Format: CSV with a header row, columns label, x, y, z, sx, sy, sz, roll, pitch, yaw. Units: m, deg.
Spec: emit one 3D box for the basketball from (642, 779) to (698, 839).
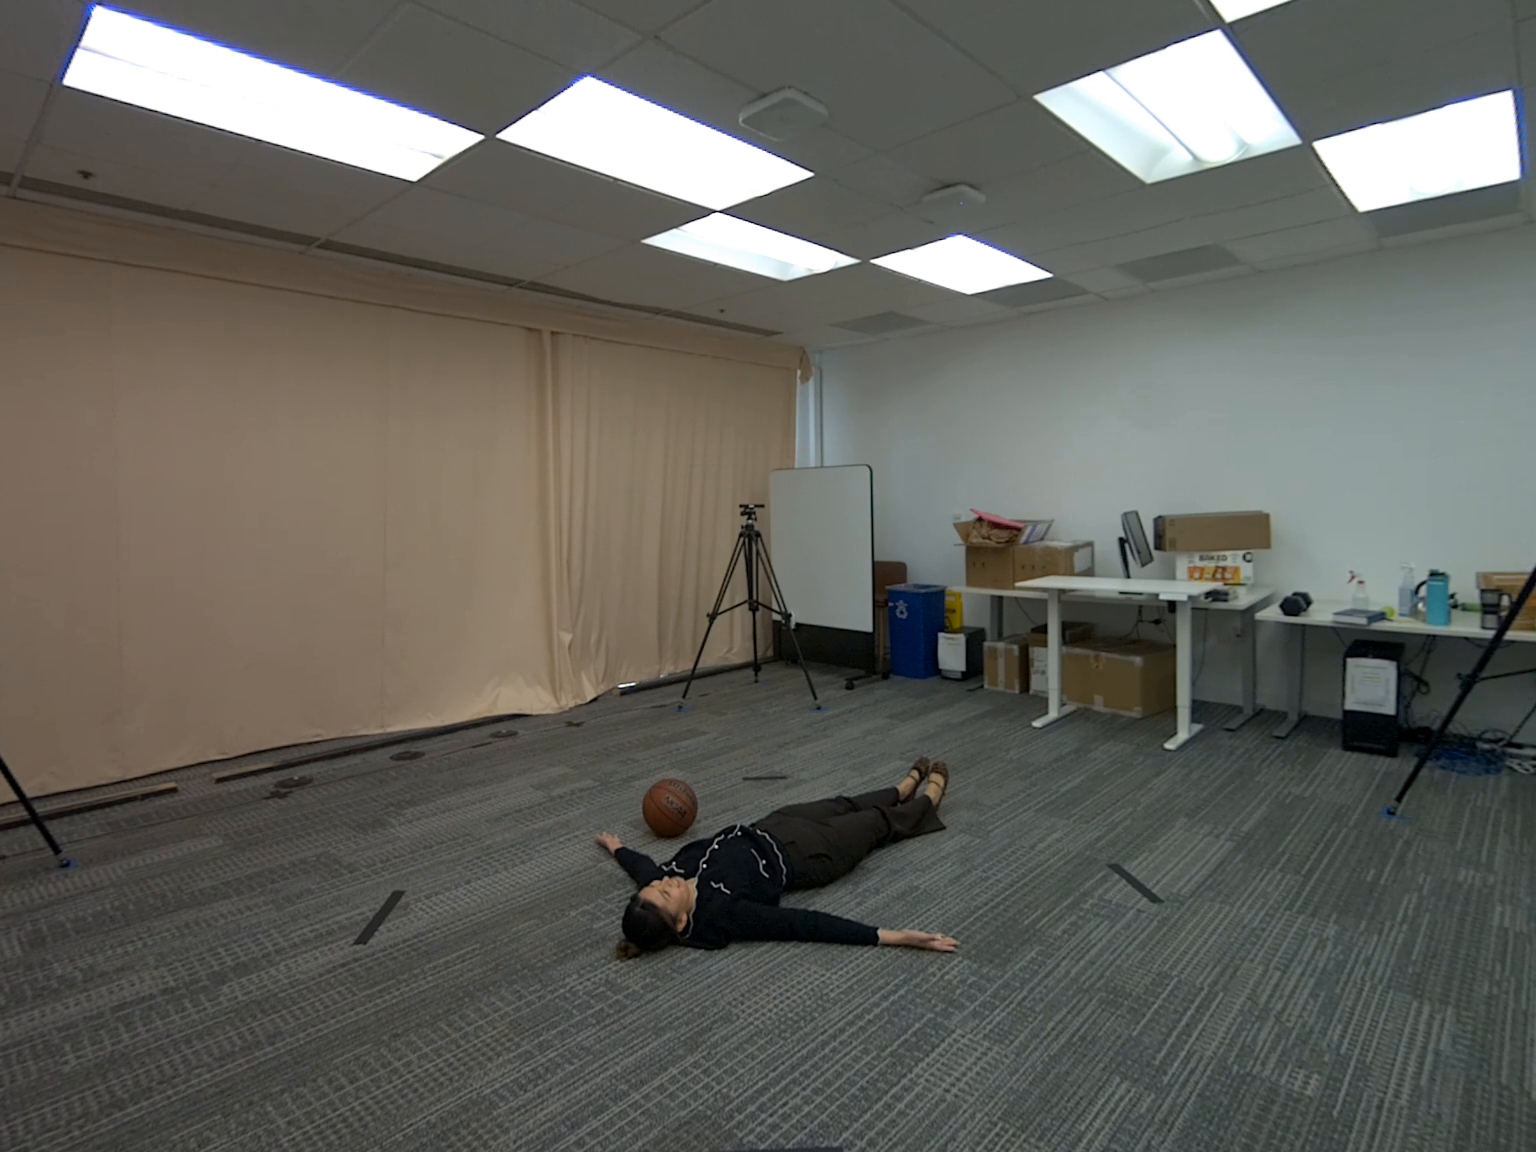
label,x,y,z,sx,sy,sz,roll,pitch,yaw
basketball,-0.418,0.980,3.571,0.236,0.235,0.237,-1,4,-2
